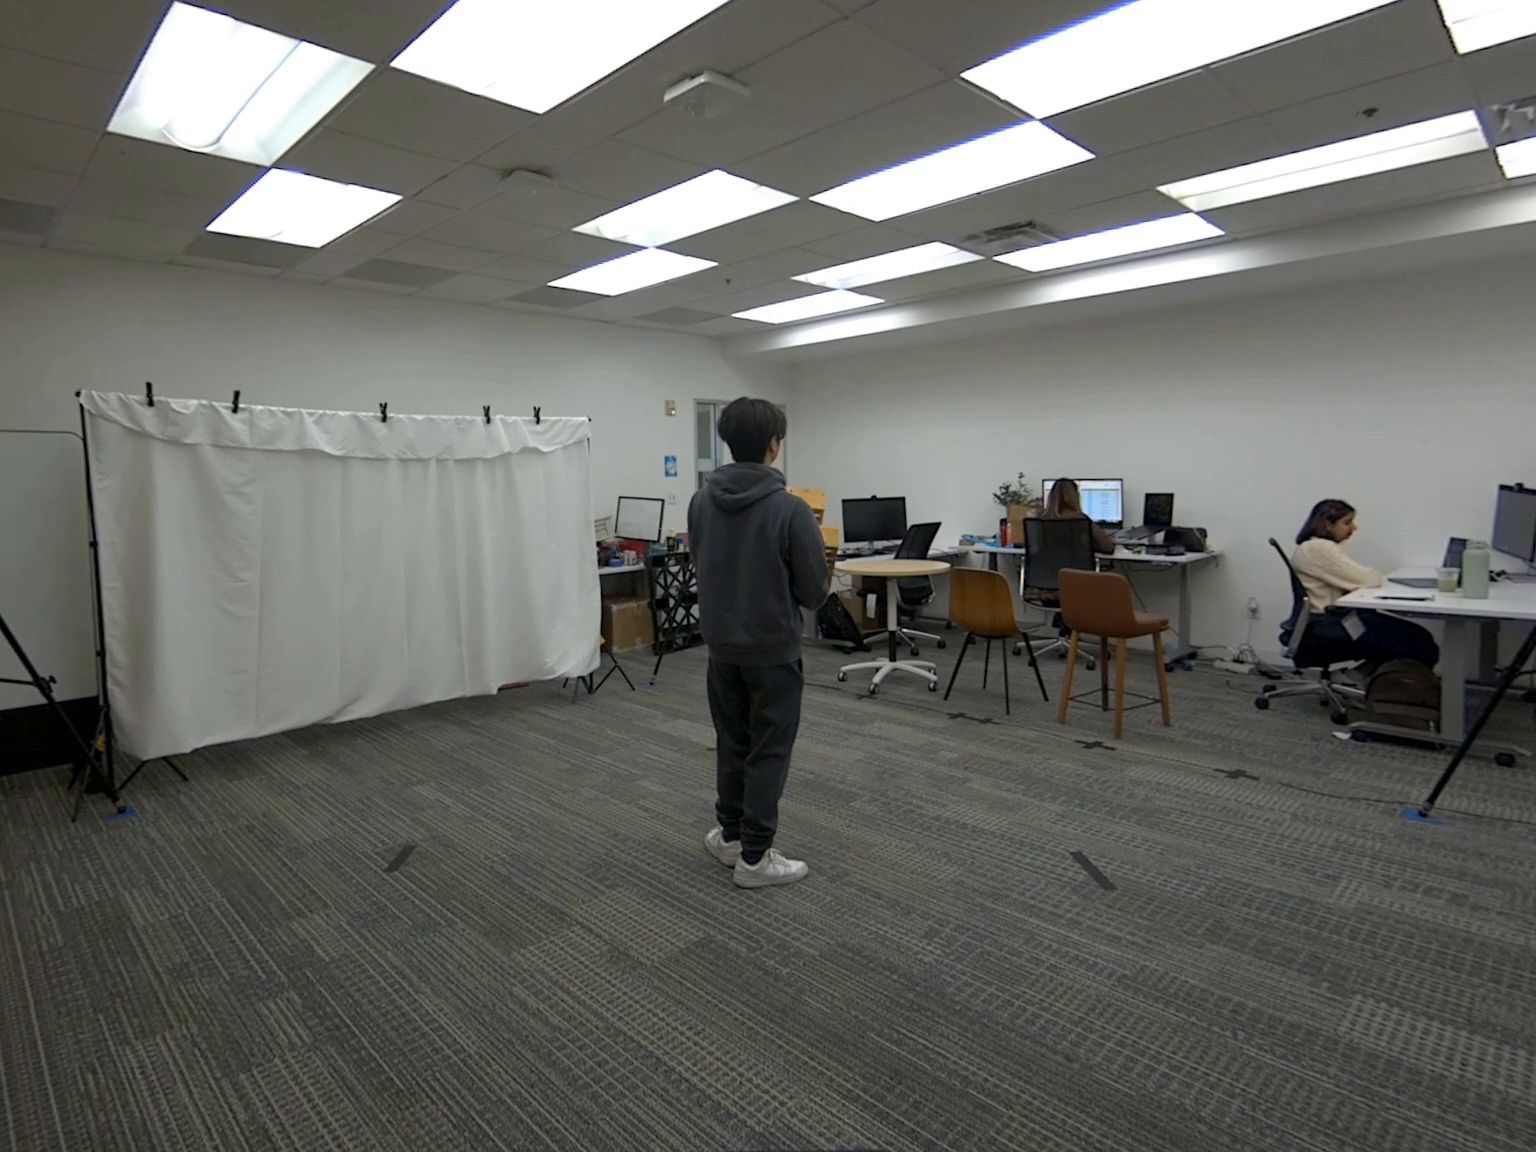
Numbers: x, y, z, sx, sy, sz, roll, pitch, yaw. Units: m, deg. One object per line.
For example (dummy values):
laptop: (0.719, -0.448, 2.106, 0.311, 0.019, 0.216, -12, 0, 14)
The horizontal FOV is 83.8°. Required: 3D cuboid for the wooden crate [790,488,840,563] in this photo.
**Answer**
wooden crate: (0.104, -0.131, 3.208, 0.302, 0.280, 0.316, 3, -37, 1)
